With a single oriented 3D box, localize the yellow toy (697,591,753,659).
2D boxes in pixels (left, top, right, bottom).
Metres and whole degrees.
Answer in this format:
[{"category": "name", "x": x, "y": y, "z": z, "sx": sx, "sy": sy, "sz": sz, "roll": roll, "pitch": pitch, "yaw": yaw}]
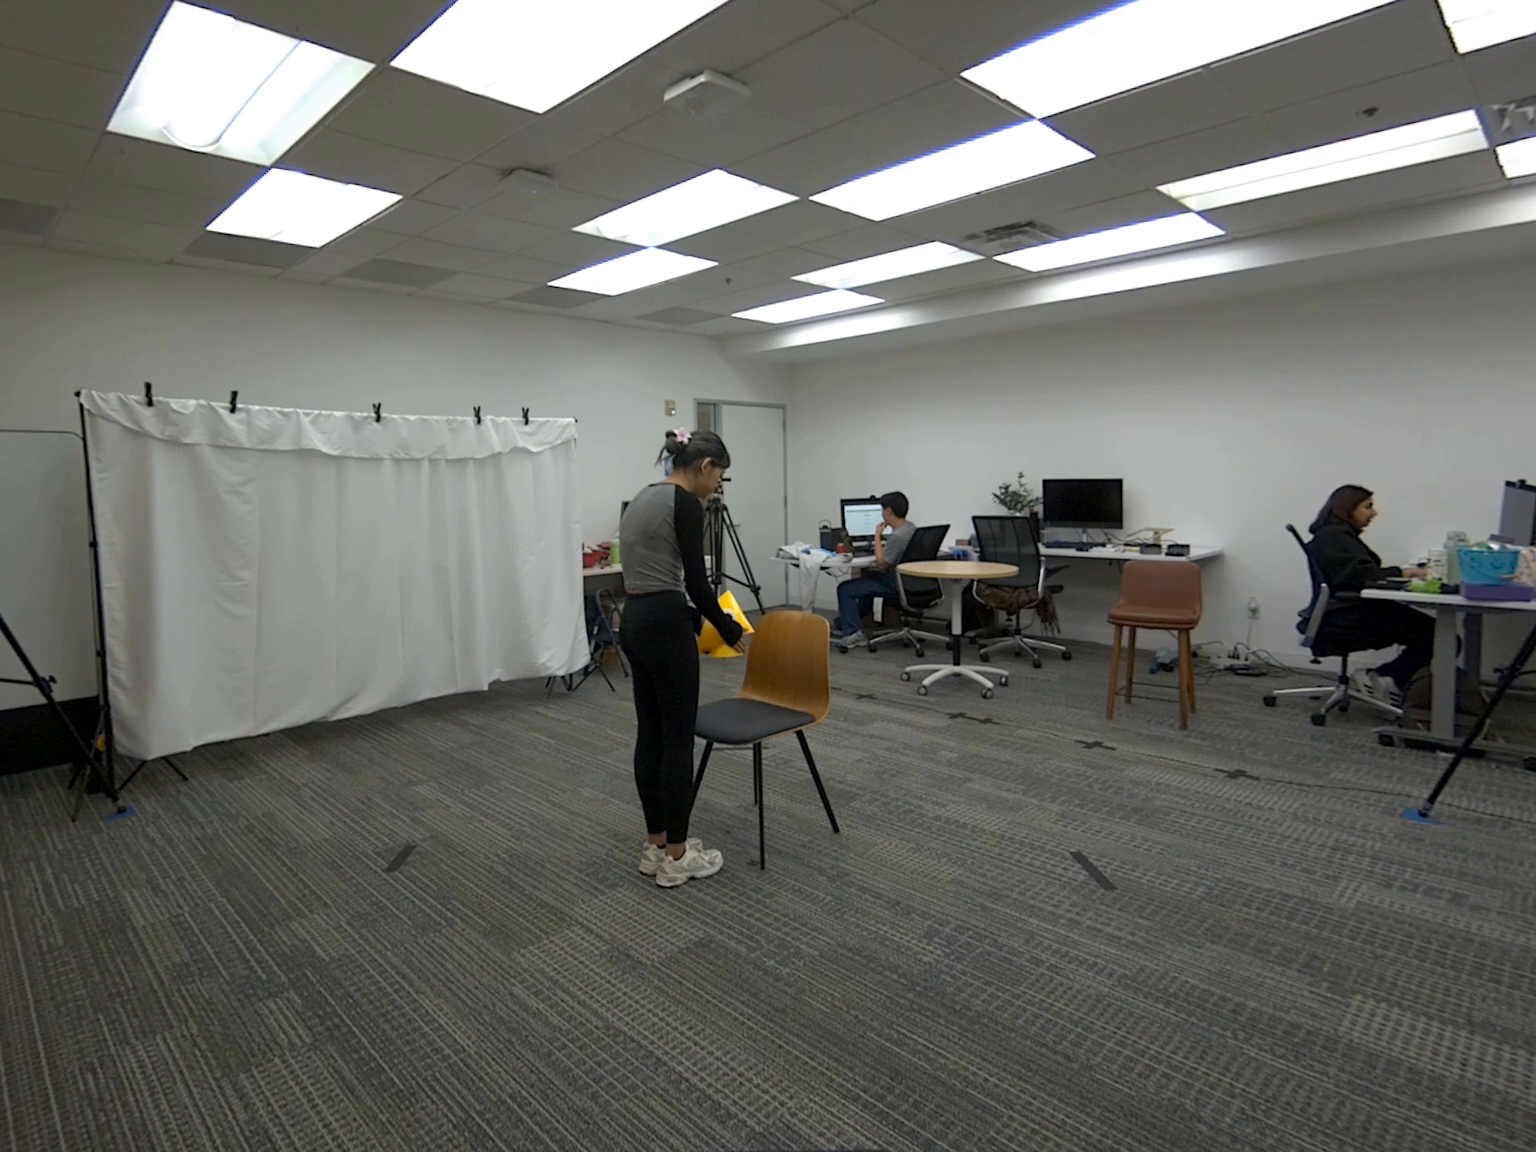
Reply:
[{"category": "yellow toy", "x": -0.182, "y": 0.179, "z": 3.181, "sx": 0.211, "sy": 0.230, "sz": 0.188, "roll": 2, "pitch": 4, "yaw": 44}]
